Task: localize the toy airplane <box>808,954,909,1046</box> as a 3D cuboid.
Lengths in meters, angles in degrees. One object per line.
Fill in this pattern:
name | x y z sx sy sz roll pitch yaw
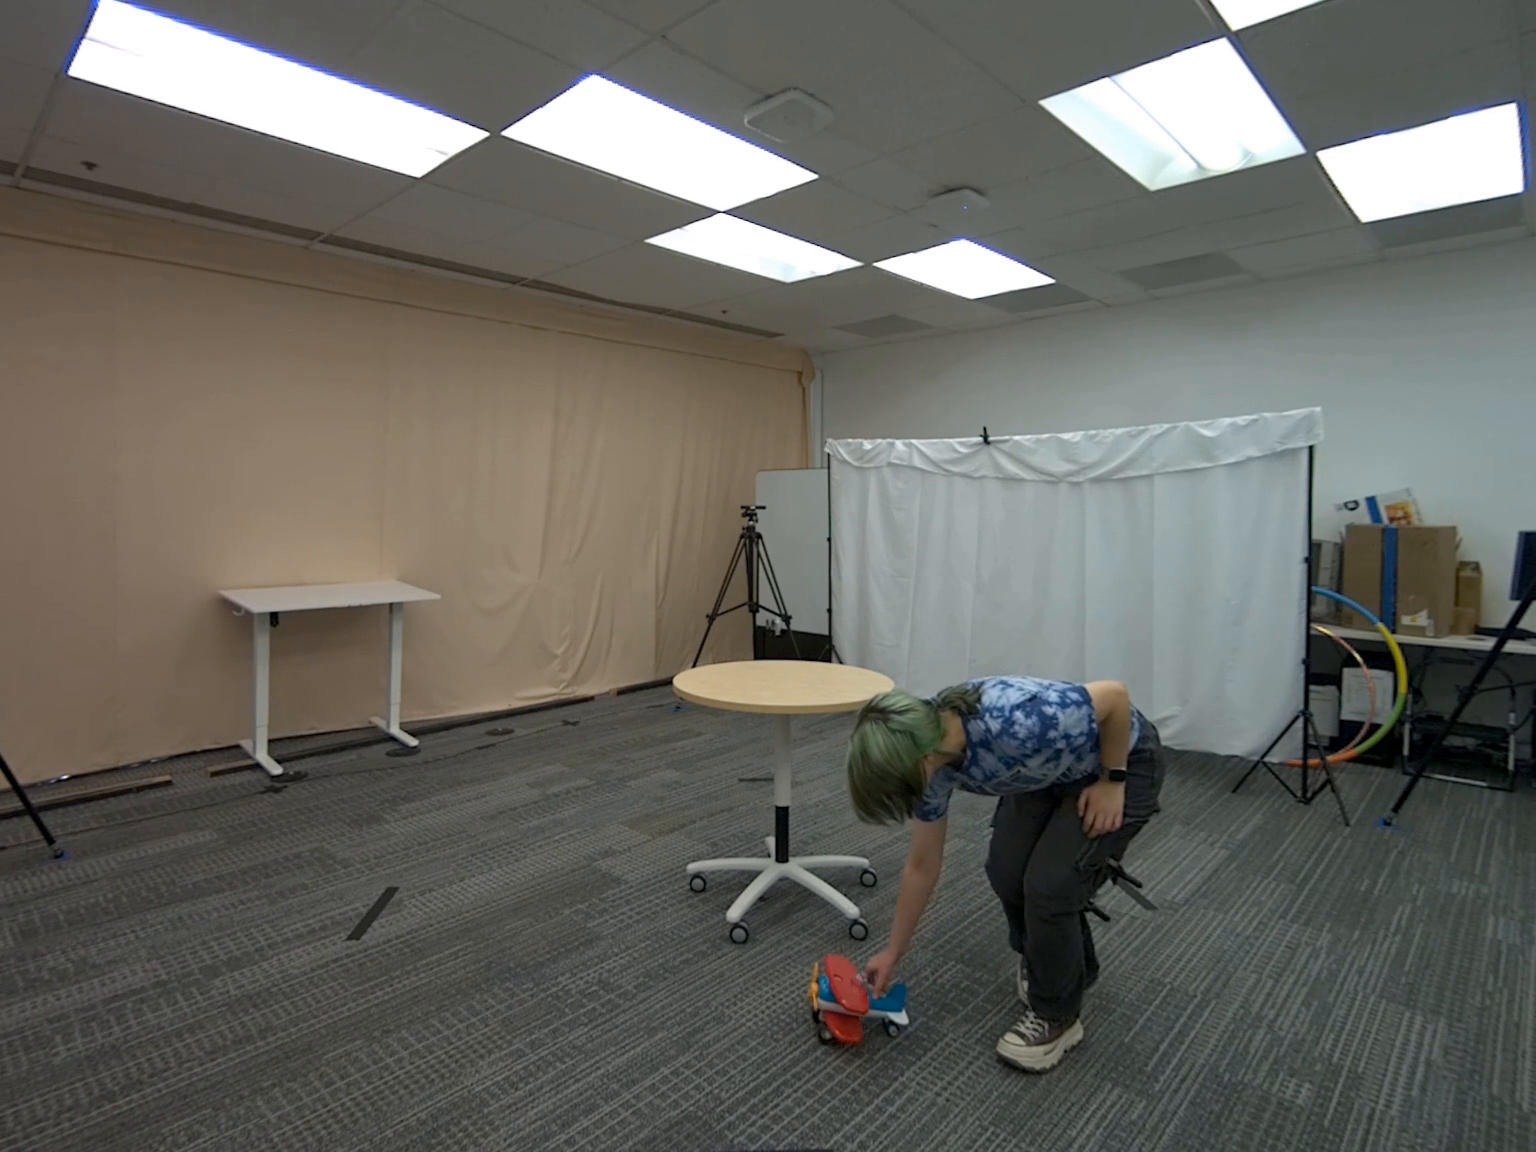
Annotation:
toy airplane | 0.241 1.136 2.239 0.252 0.156 0.259 -4 7 -32
